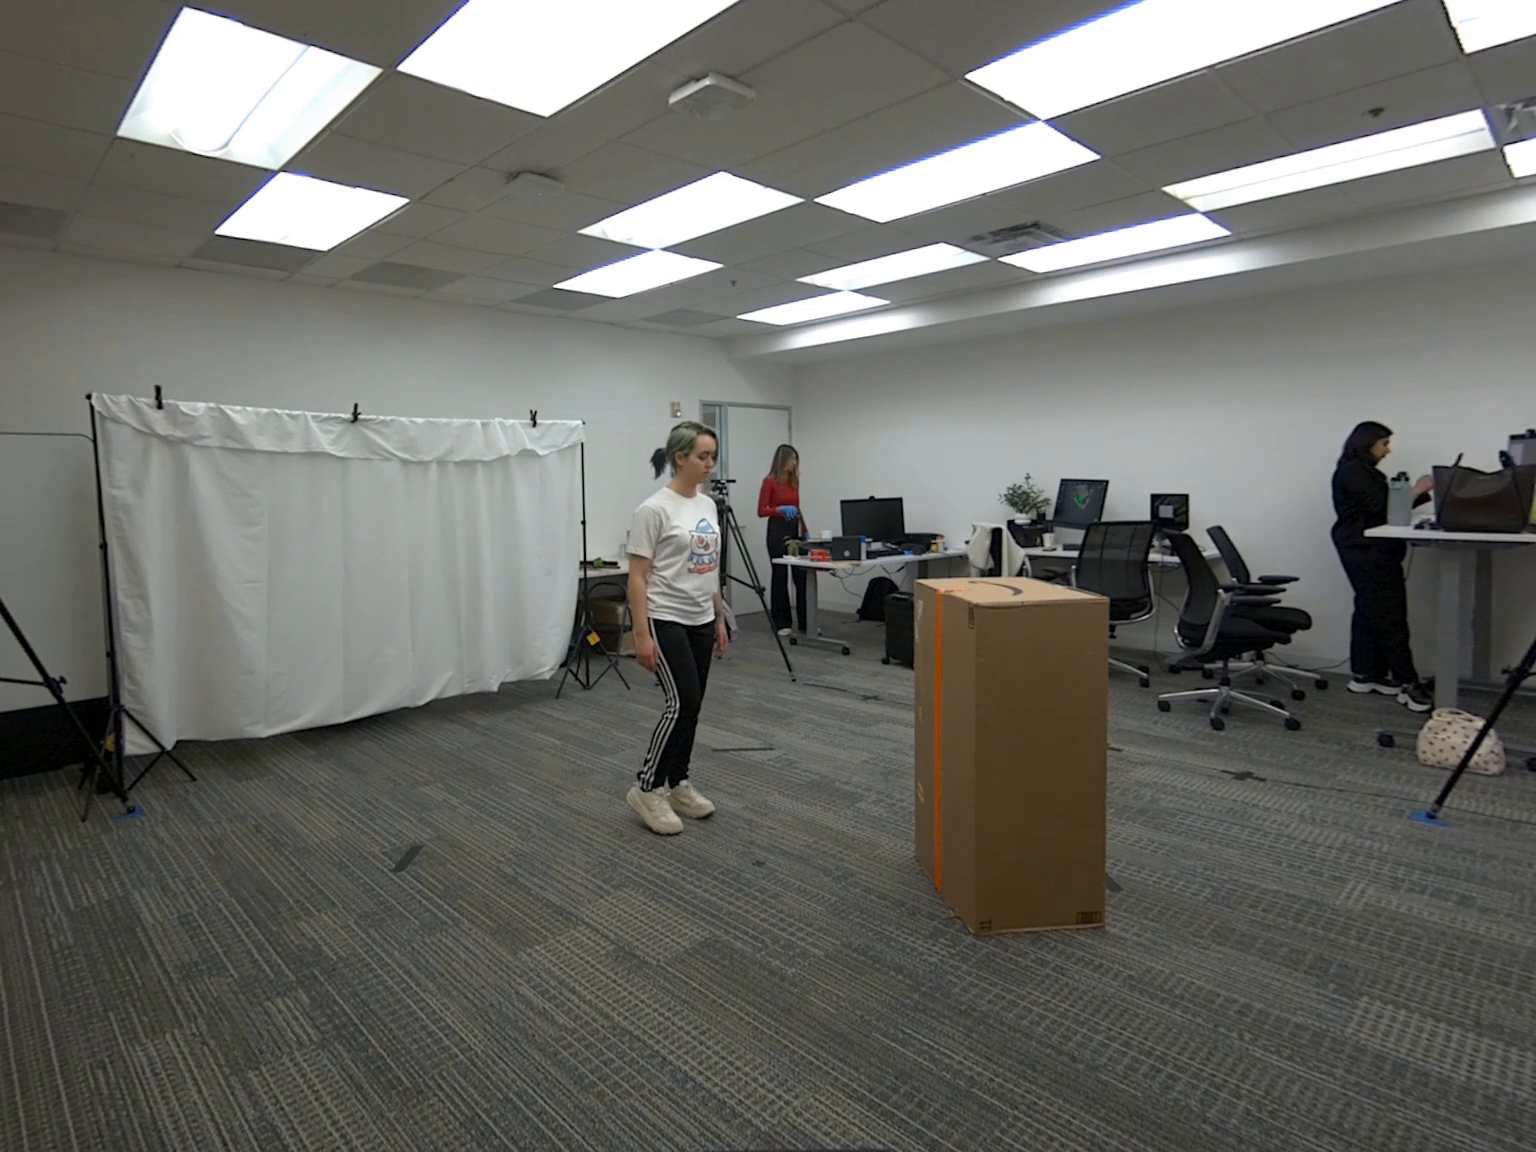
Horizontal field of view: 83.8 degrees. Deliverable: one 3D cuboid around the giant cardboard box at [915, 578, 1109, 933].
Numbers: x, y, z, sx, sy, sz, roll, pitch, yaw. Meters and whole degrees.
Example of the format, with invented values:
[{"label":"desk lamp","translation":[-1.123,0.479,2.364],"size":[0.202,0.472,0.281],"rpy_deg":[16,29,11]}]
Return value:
[{"label":"giant cardboard box","translation":[0.786,0.553,2.856],"size":[0.444,1.023,0.590],"rpy_deg":[-1,4,-8]}]
